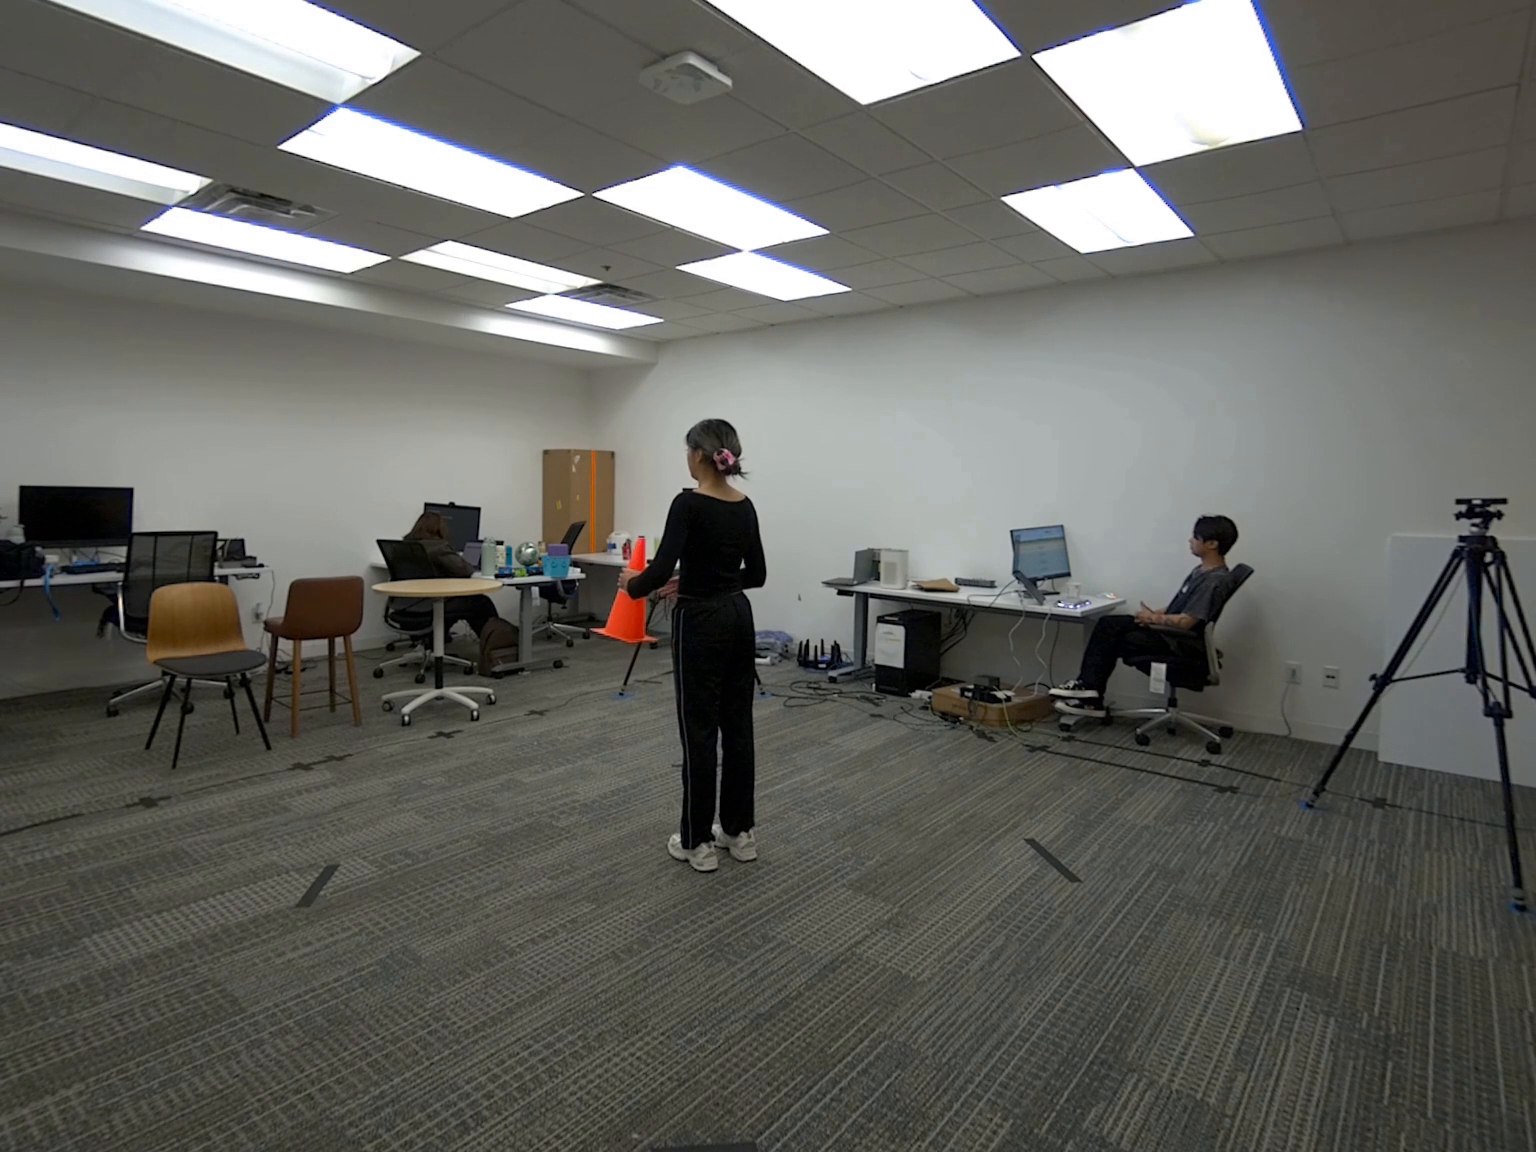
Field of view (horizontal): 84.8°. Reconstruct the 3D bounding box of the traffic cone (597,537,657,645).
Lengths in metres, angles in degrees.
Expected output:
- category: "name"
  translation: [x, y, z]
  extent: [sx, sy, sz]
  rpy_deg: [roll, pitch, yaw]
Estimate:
- category: "traffic cone"
  translation: [-0.529, 0.044, 3.287]
  extent: [0.207, 0.383, 0.201]
  rpy_deg: [11, 1, 14]
